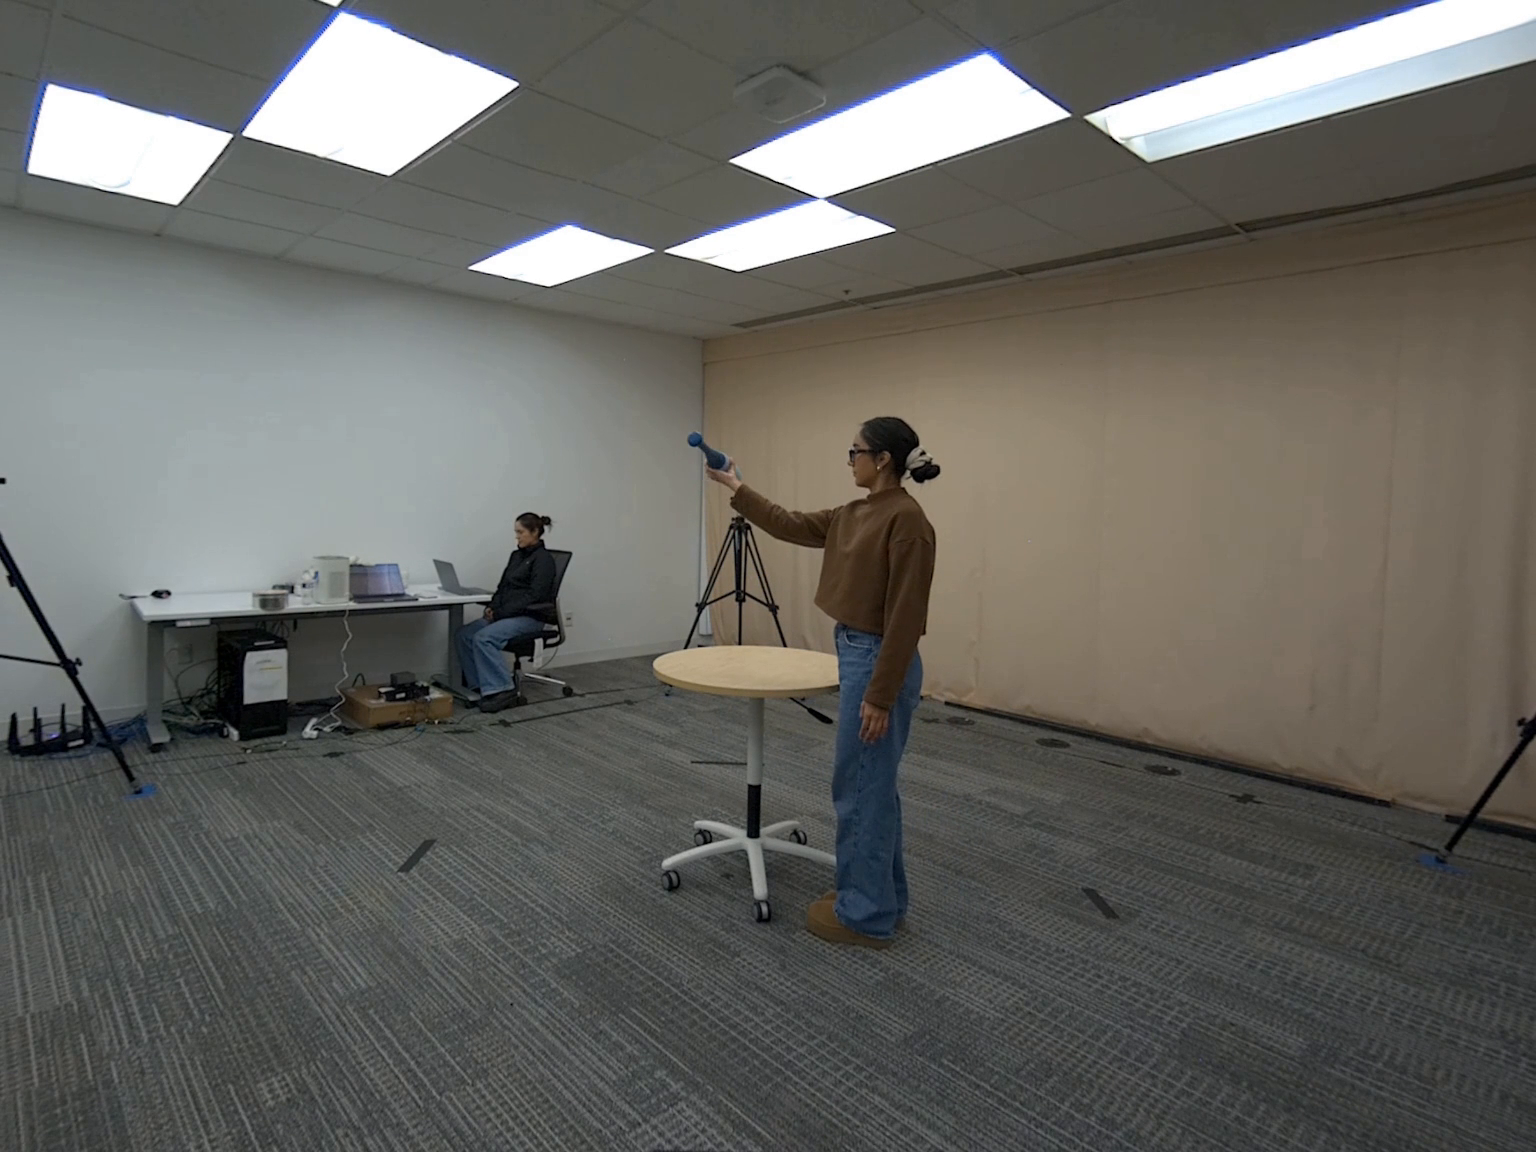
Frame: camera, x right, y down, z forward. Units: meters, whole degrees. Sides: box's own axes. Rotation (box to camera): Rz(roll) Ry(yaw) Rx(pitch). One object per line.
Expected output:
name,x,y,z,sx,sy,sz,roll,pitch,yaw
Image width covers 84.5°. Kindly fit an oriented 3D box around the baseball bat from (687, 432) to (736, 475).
baseball bat,-0.182,-0.412,2.989,0.090,0.089,0.536,2,-7,8
